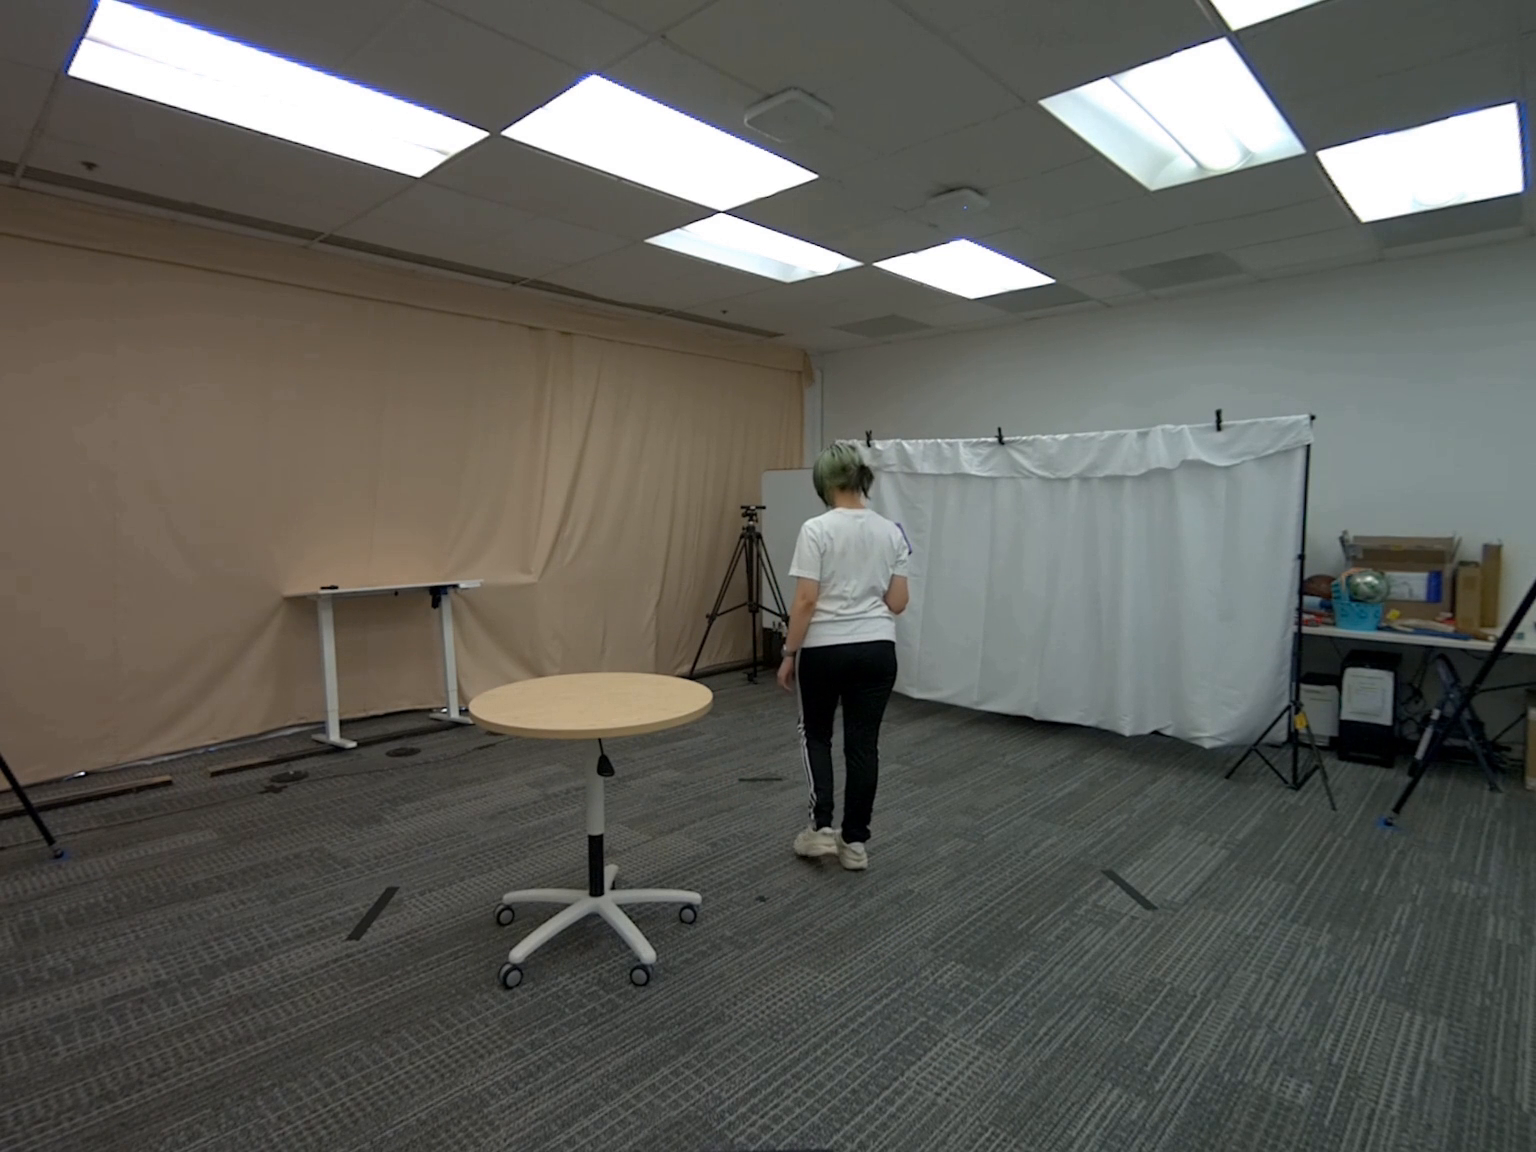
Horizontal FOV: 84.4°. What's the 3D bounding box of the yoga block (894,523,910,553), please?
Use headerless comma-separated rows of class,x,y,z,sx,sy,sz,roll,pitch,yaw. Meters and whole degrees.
yoga block,0.494,-0.128,3.564,0.225,0.152,0.076,-13,-21,-19
